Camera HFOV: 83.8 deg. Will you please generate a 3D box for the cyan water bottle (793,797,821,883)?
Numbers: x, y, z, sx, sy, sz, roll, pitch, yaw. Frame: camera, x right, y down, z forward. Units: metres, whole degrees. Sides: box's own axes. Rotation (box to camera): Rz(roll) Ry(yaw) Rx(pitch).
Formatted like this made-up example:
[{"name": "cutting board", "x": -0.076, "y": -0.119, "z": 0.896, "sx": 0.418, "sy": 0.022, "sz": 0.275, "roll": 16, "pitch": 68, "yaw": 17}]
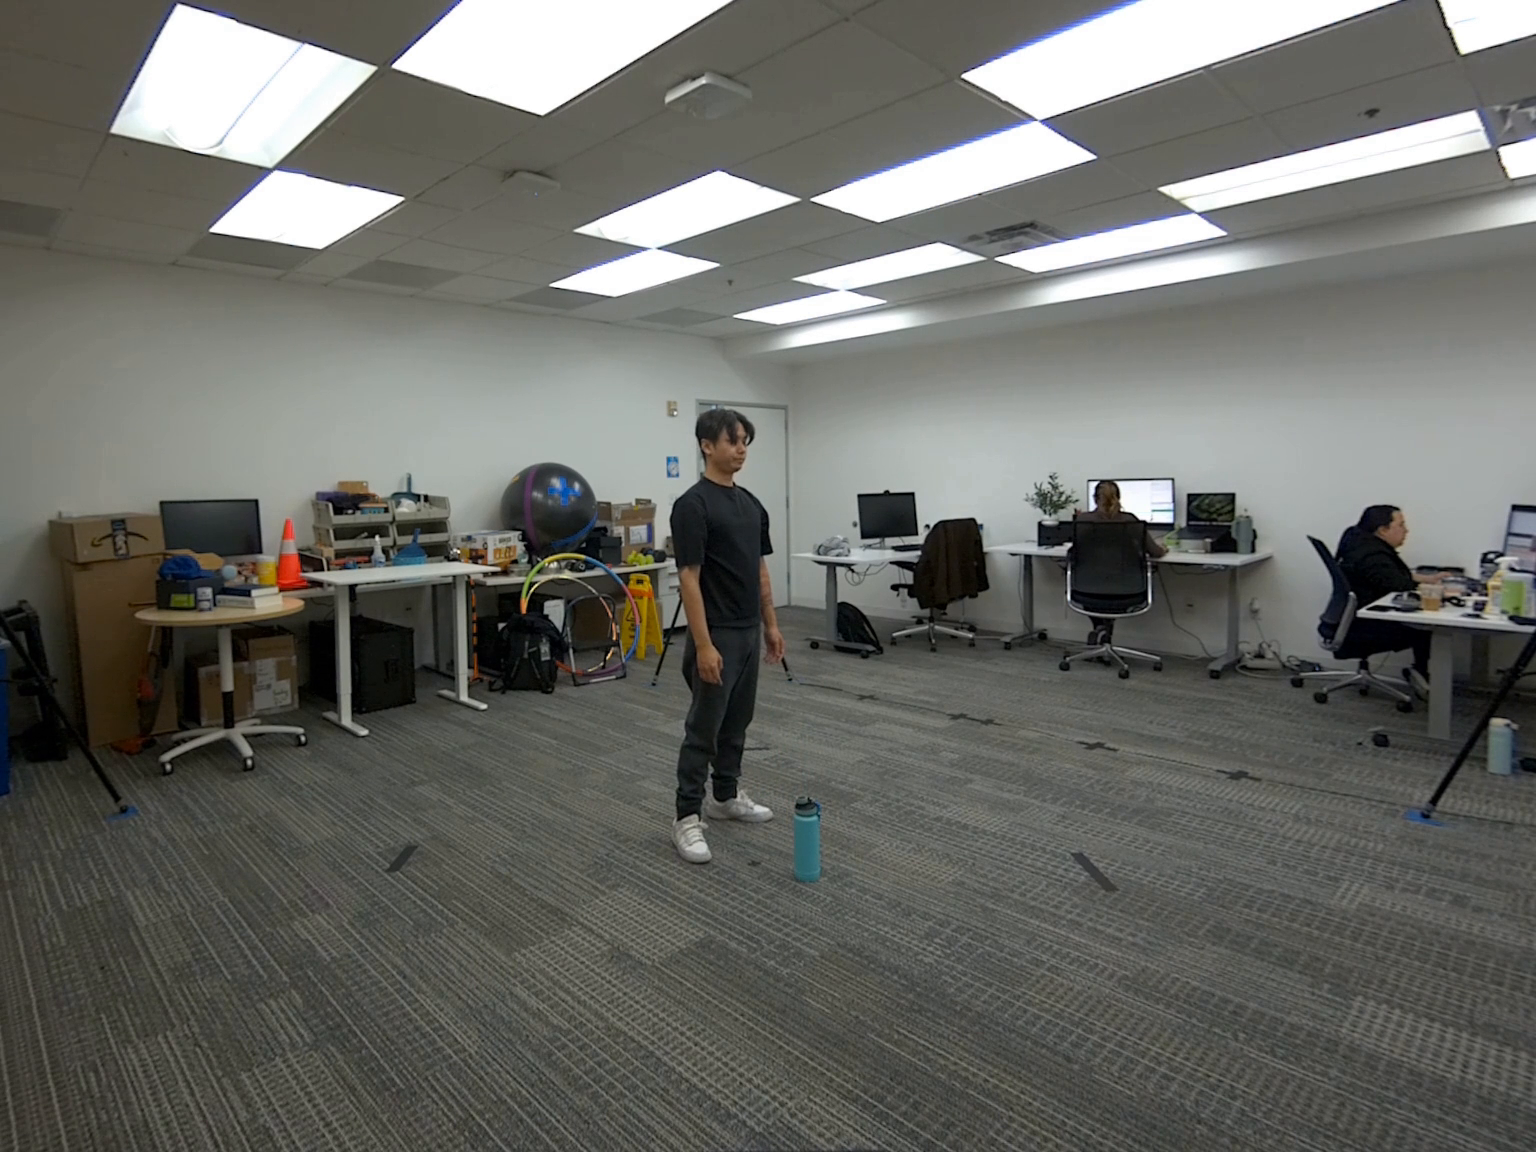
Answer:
[{"name": "cyan water bottle", "x": 0.143, "y": 0.915, "z": 2.987, "sx": 0.092, "sy": 0.282, "sz": 0.093, "roll": 0, "pitch": 3, "yaw": -2}]
